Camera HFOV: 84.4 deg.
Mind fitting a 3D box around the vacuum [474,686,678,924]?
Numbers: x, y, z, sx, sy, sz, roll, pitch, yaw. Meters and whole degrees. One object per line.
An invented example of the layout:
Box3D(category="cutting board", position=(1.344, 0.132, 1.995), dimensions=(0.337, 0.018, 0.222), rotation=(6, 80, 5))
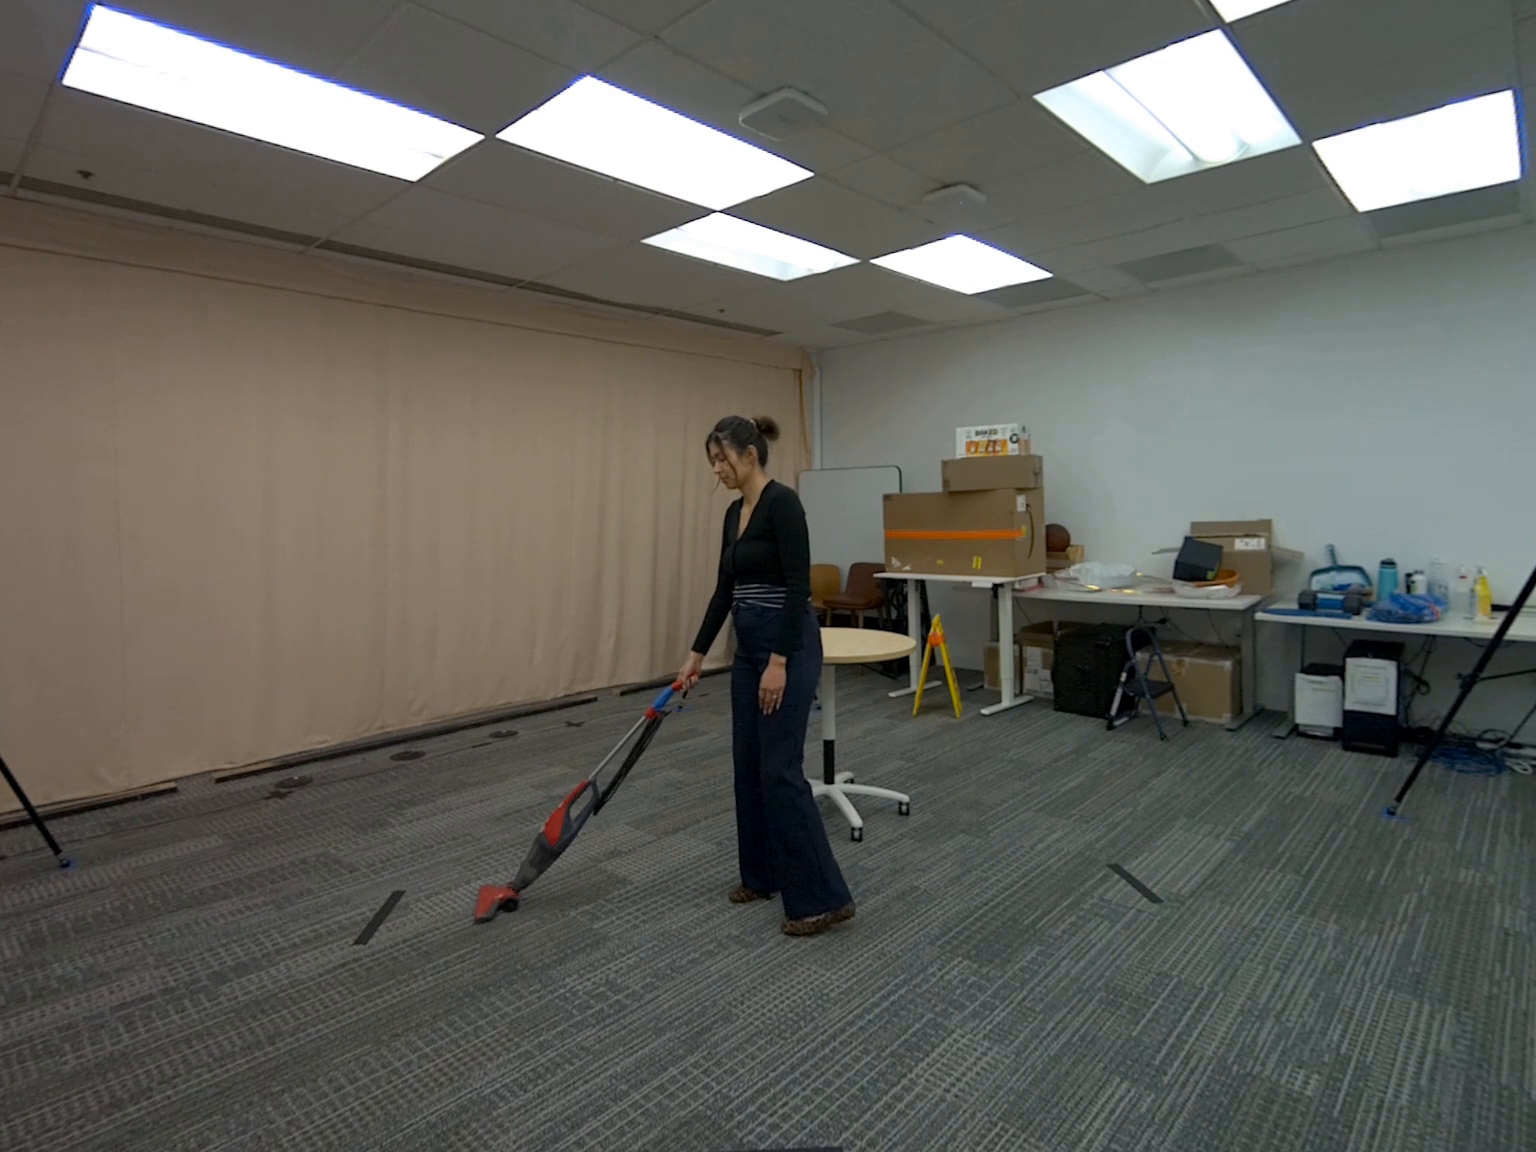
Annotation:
Box3D(category="vacuum", position=(-0.617, 0.764, 3.034), dimensions=(0.142, 1.047, 0.256), rotation=(43, -7, -13))
